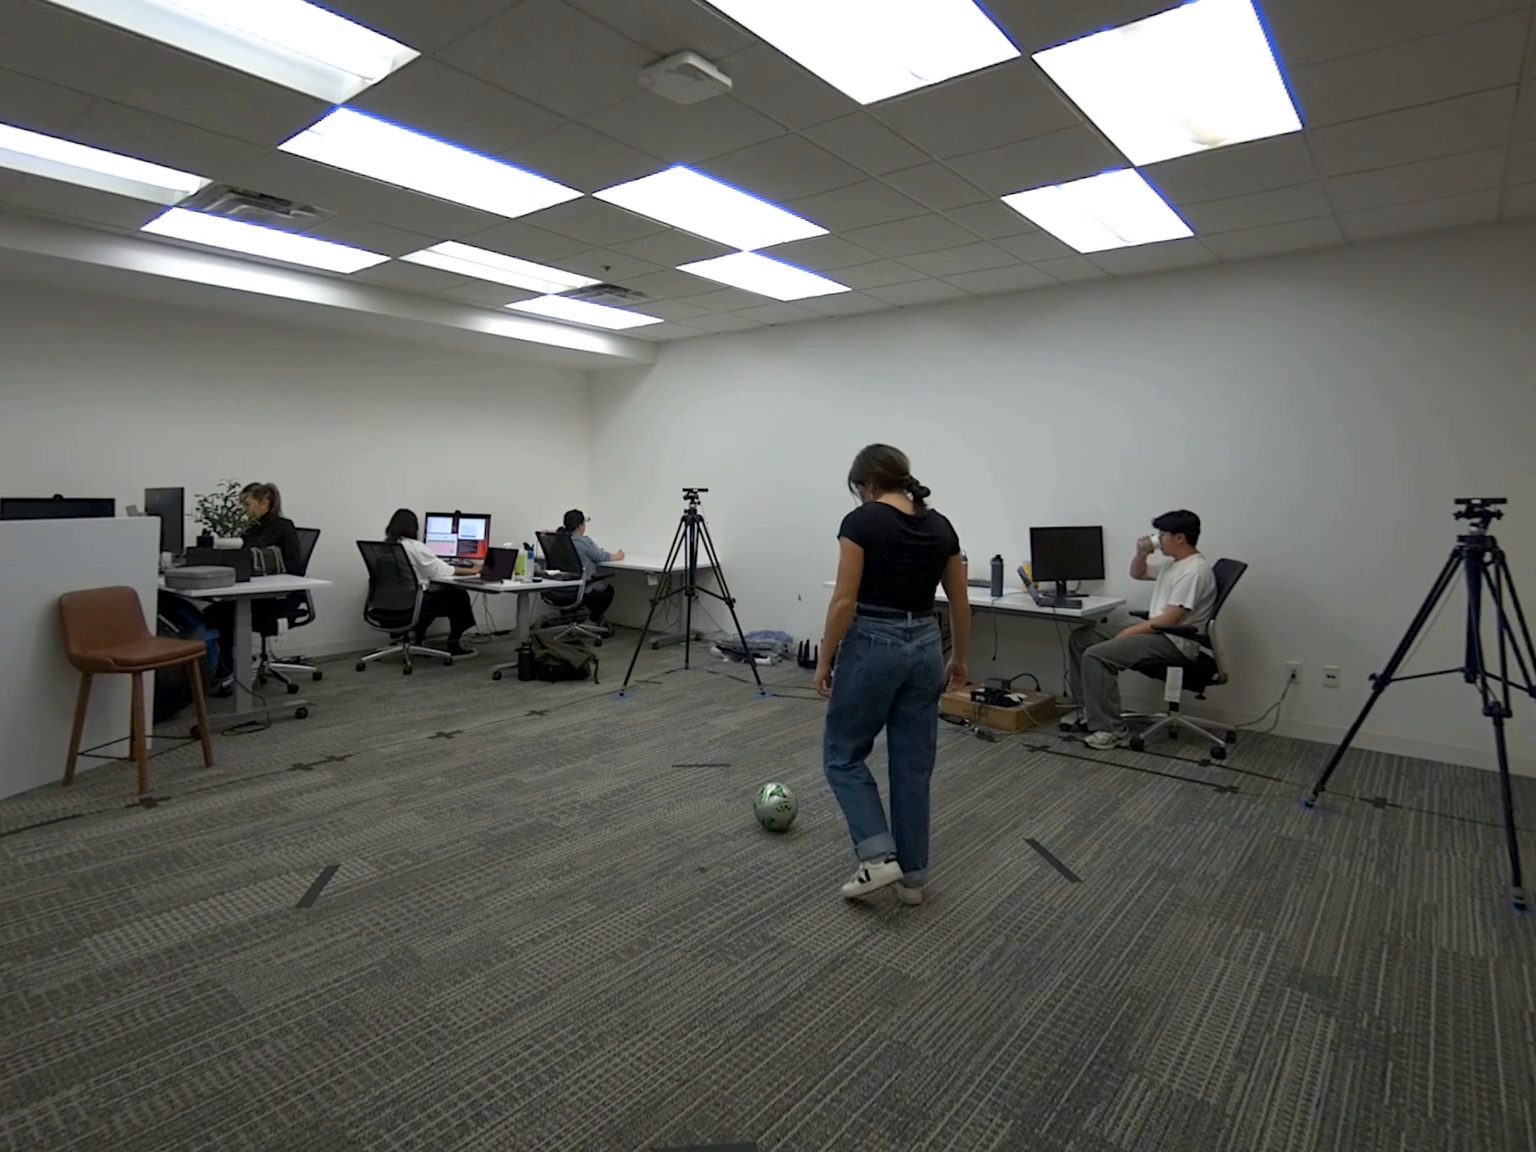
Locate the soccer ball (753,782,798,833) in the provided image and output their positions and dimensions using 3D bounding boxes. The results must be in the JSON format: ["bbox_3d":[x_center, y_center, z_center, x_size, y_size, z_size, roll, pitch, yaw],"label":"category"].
[{"bbox_3d":[0.034,0.934,3.499,0.187,0.187,0.188,1,4,-2],"label":"soccer ball"}]
